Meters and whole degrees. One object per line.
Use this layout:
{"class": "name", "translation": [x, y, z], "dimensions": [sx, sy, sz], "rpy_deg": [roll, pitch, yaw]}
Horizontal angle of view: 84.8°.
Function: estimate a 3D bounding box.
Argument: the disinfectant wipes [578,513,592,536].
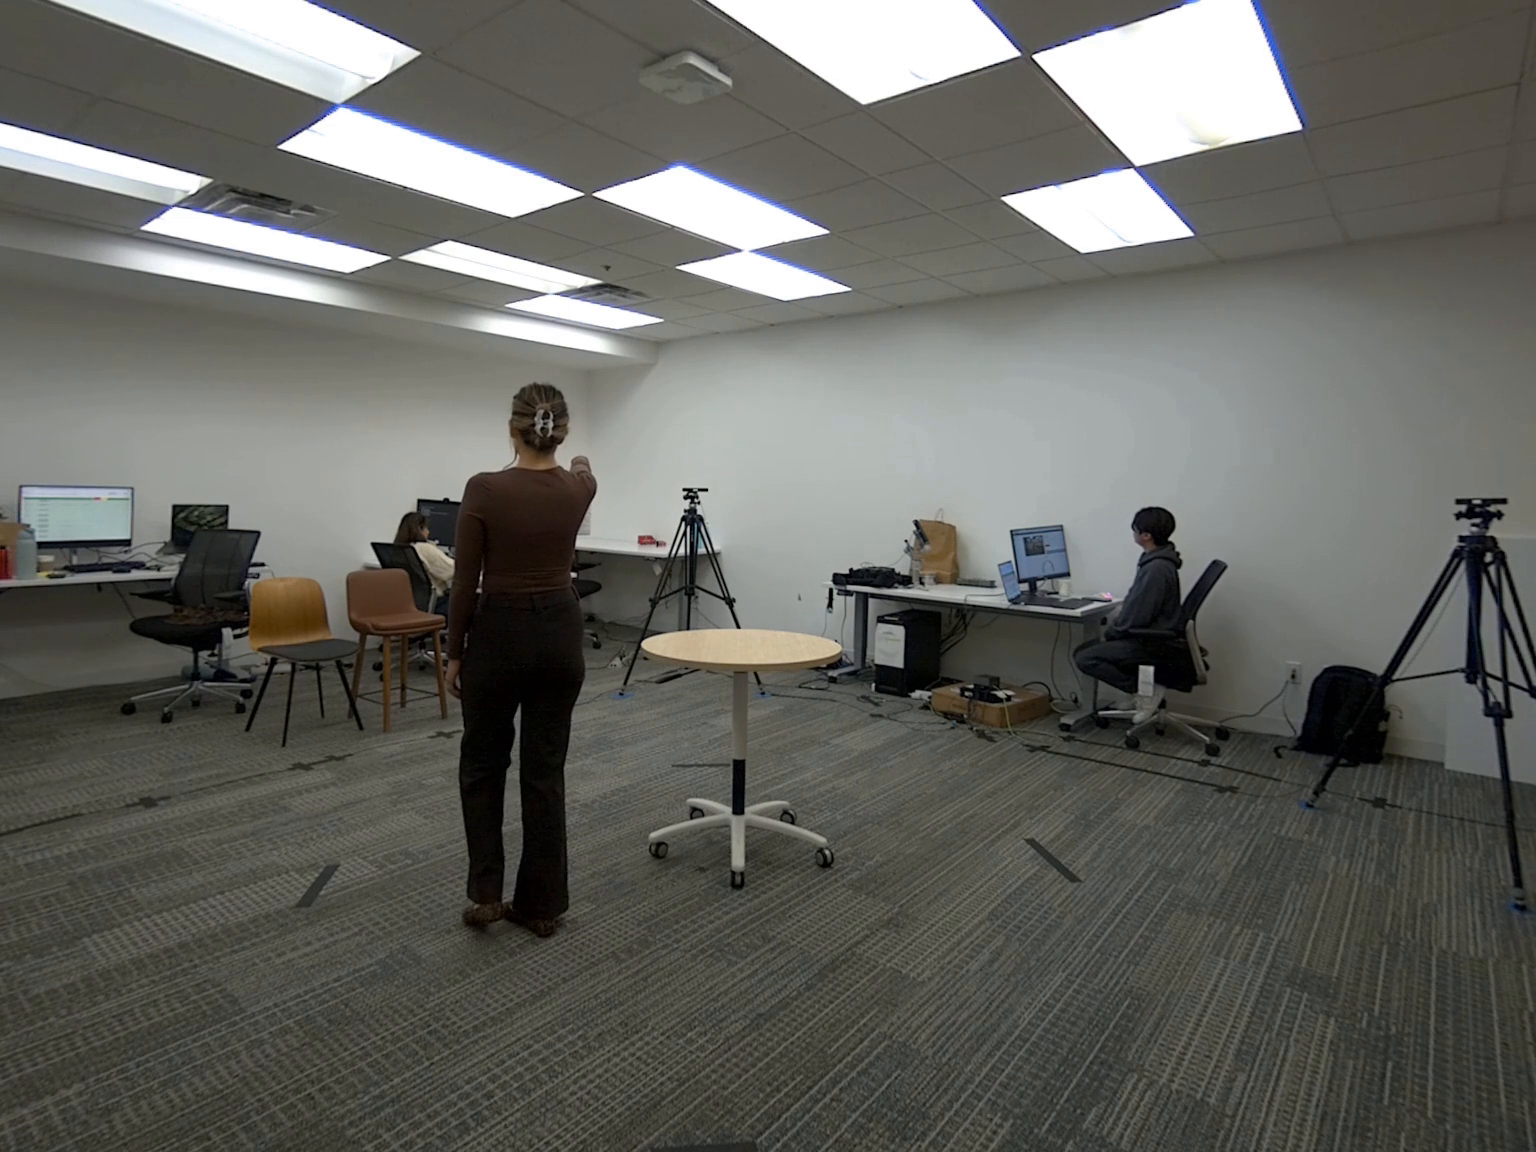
{"class": "disinfectant wipes", "translation": [-0.750, -0.269, 3.322], "dimensions": [0.117, 0.217, 0.118], "rpy_deg": [4, 2, -2]}
